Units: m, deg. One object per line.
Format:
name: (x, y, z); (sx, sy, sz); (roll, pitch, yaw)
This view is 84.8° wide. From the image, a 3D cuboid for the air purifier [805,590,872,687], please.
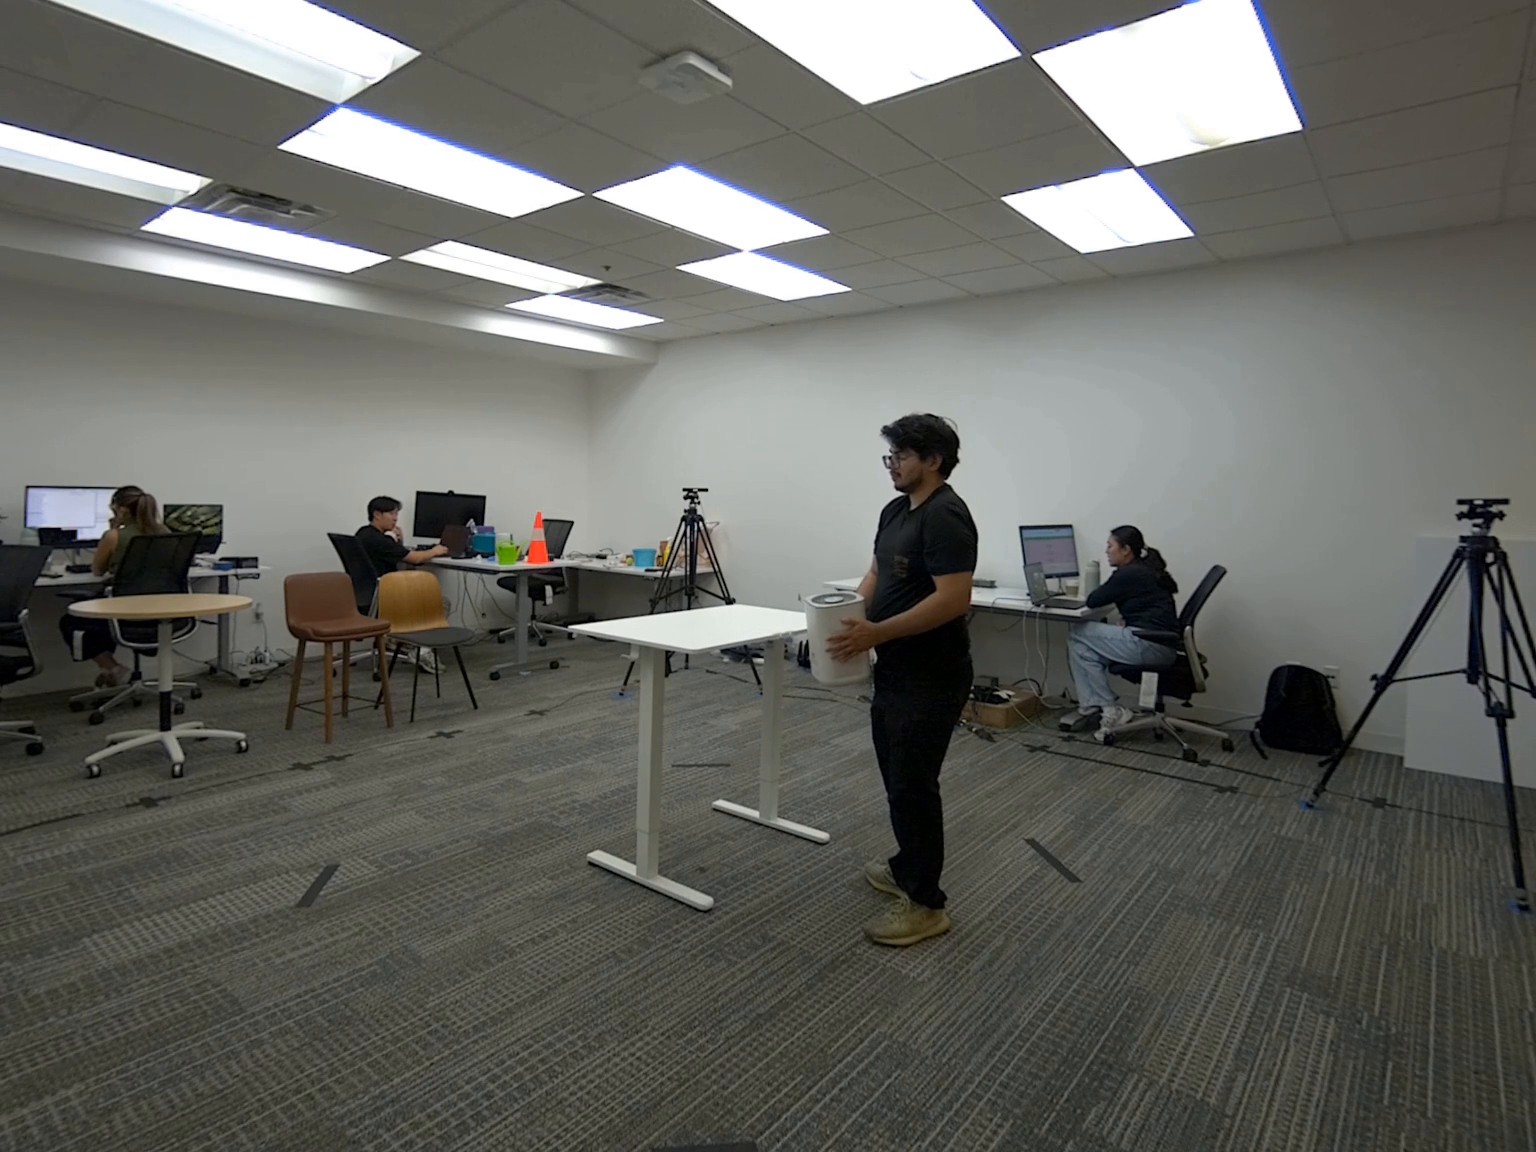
air purifier: (0.214, 0.195, 2.686); (0.169, 0.263, 0.175); (-9, 10, -14)
